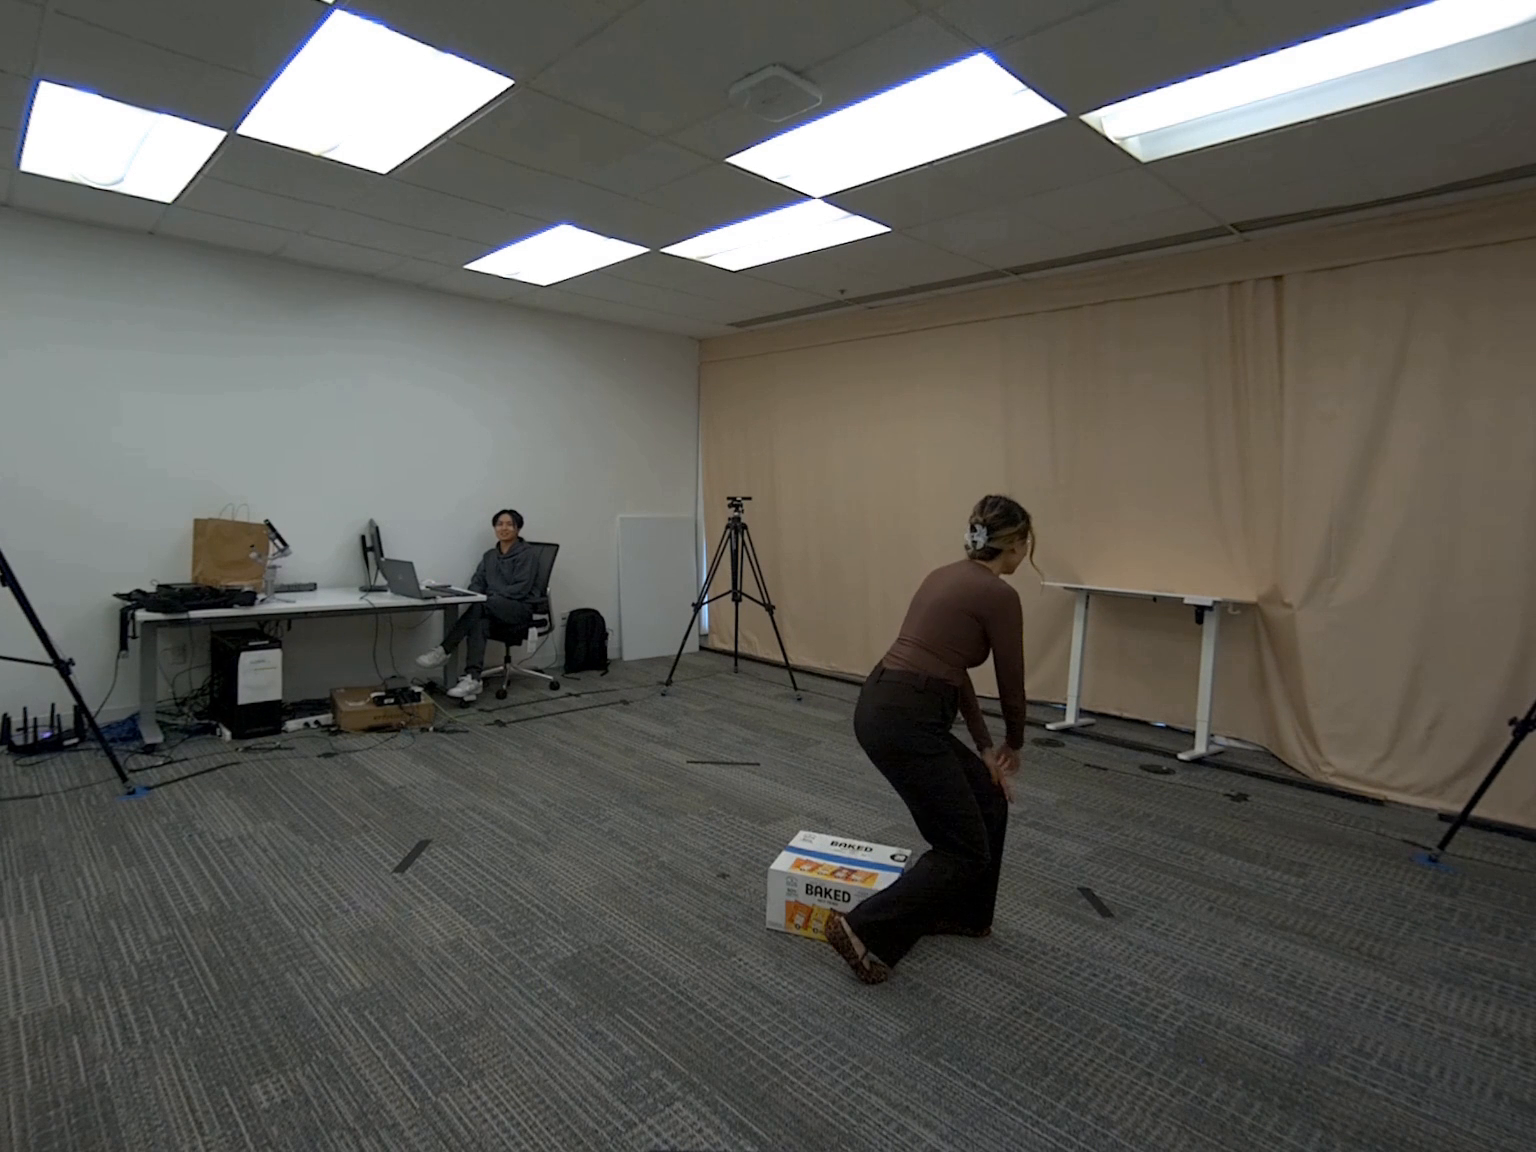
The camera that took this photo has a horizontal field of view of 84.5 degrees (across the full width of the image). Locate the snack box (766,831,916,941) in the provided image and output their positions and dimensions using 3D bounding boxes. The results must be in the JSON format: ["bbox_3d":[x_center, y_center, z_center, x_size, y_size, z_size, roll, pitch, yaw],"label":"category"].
[{"bbox_3d":[0.241,1.040,2.797,0.412,0.205,0.336,4,5,21],"label":"snack box"}]
